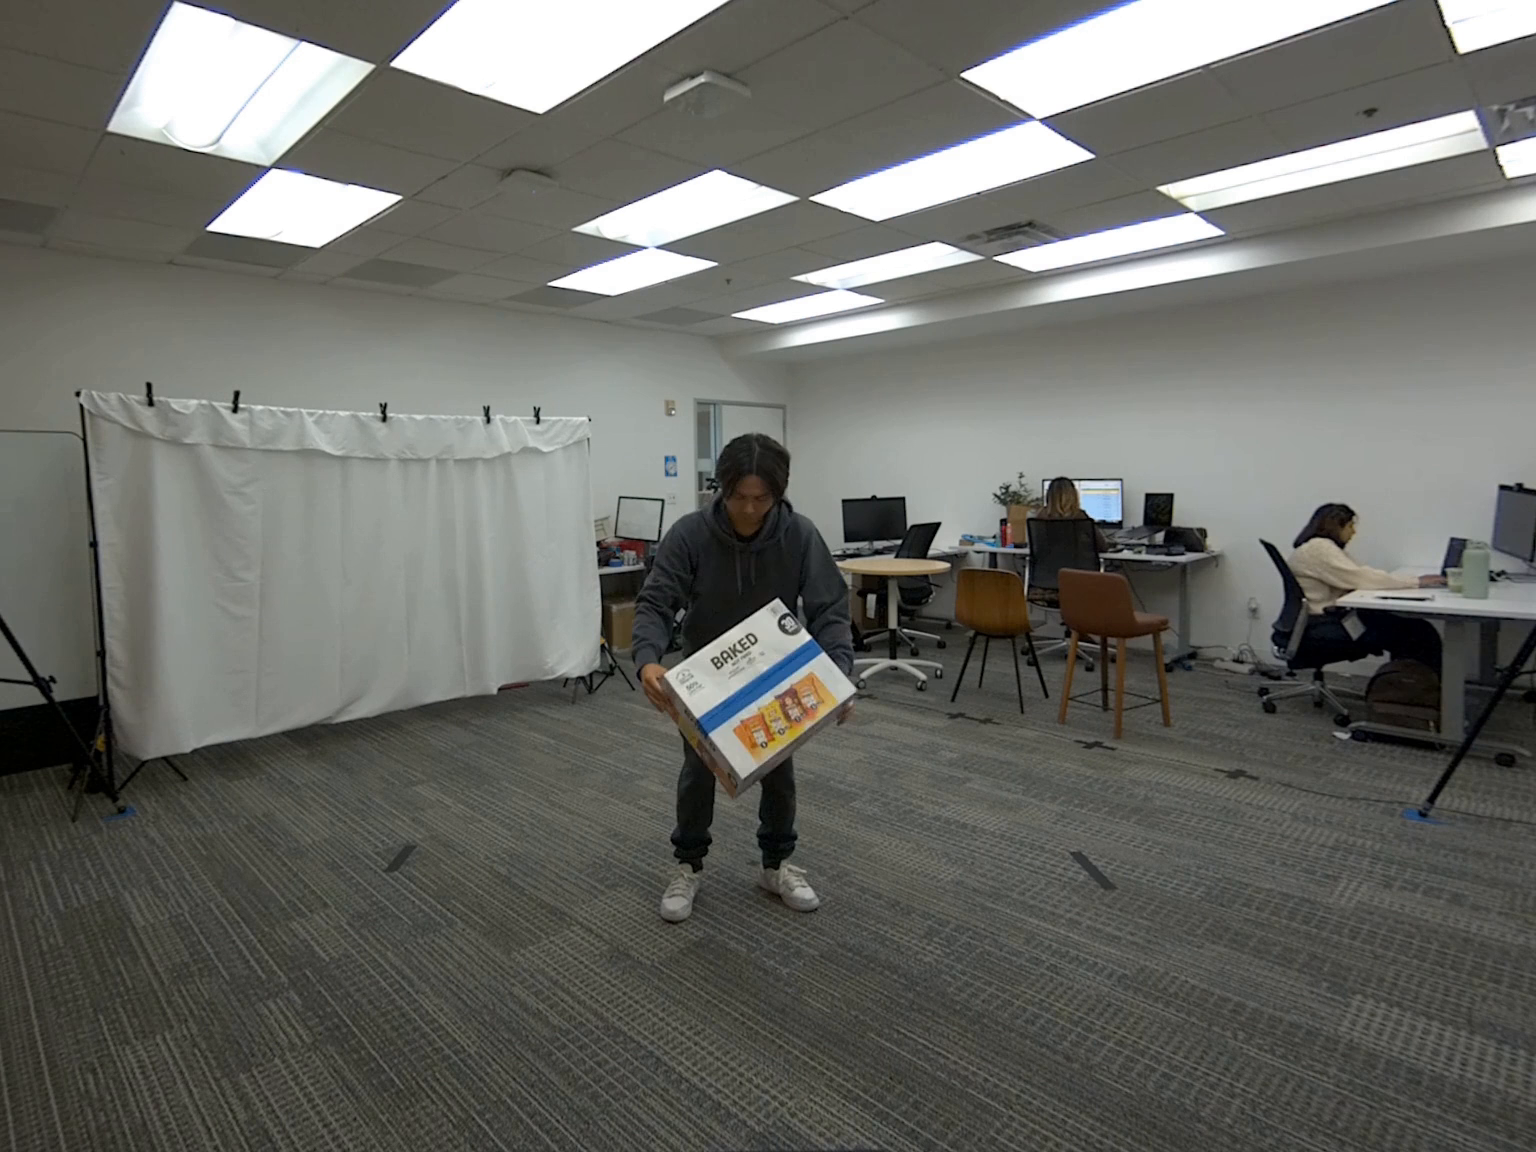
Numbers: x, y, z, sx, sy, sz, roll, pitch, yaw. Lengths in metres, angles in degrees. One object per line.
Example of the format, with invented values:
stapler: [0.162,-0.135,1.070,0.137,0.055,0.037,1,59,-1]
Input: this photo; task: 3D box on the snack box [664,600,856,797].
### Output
snack box: [-0.039,0.332,2.353,0.402,0.349,0.202,-33,-21,-23]
